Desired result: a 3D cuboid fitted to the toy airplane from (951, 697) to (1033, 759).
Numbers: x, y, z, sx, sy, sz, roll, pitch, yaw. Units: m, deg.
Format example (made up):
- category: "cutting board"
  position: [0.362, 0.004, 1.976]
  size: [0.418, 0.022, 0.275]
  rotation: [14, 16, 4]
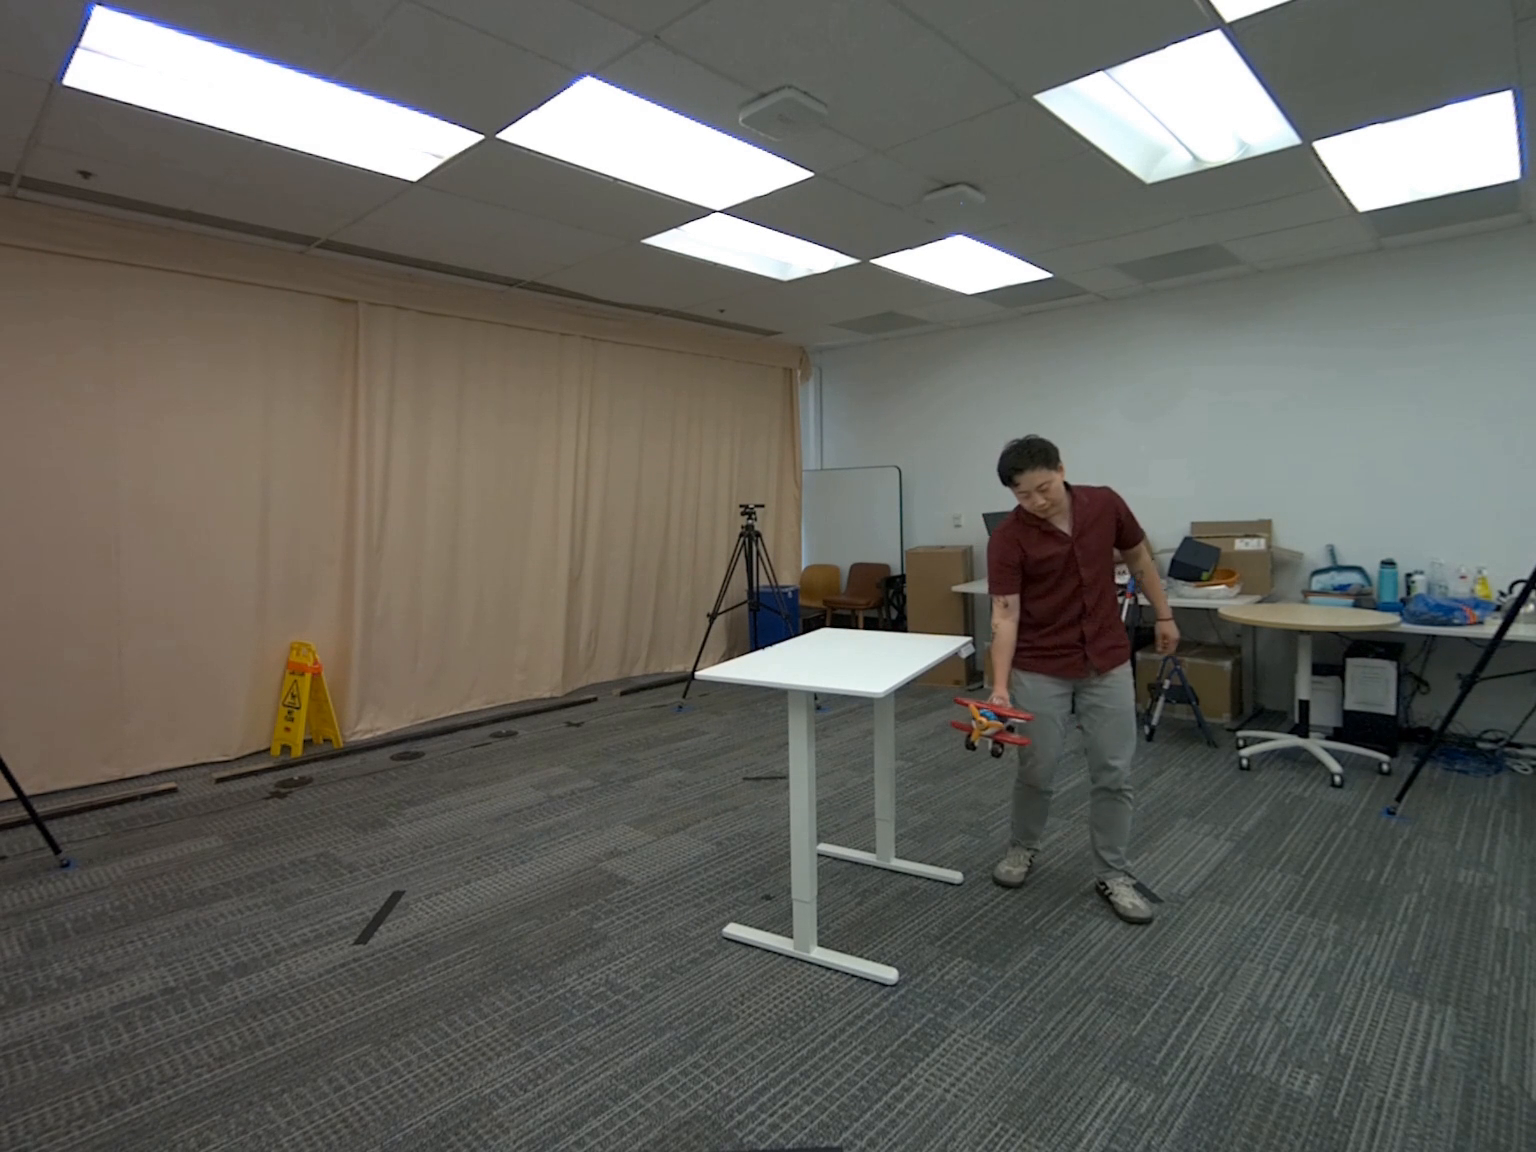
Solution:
- category: "toy airplane"
  position: [0.734, 0.476, 2.770]
  size: [0.254, 0.155, 0.259]
  rotation: [1, 15, 8]
